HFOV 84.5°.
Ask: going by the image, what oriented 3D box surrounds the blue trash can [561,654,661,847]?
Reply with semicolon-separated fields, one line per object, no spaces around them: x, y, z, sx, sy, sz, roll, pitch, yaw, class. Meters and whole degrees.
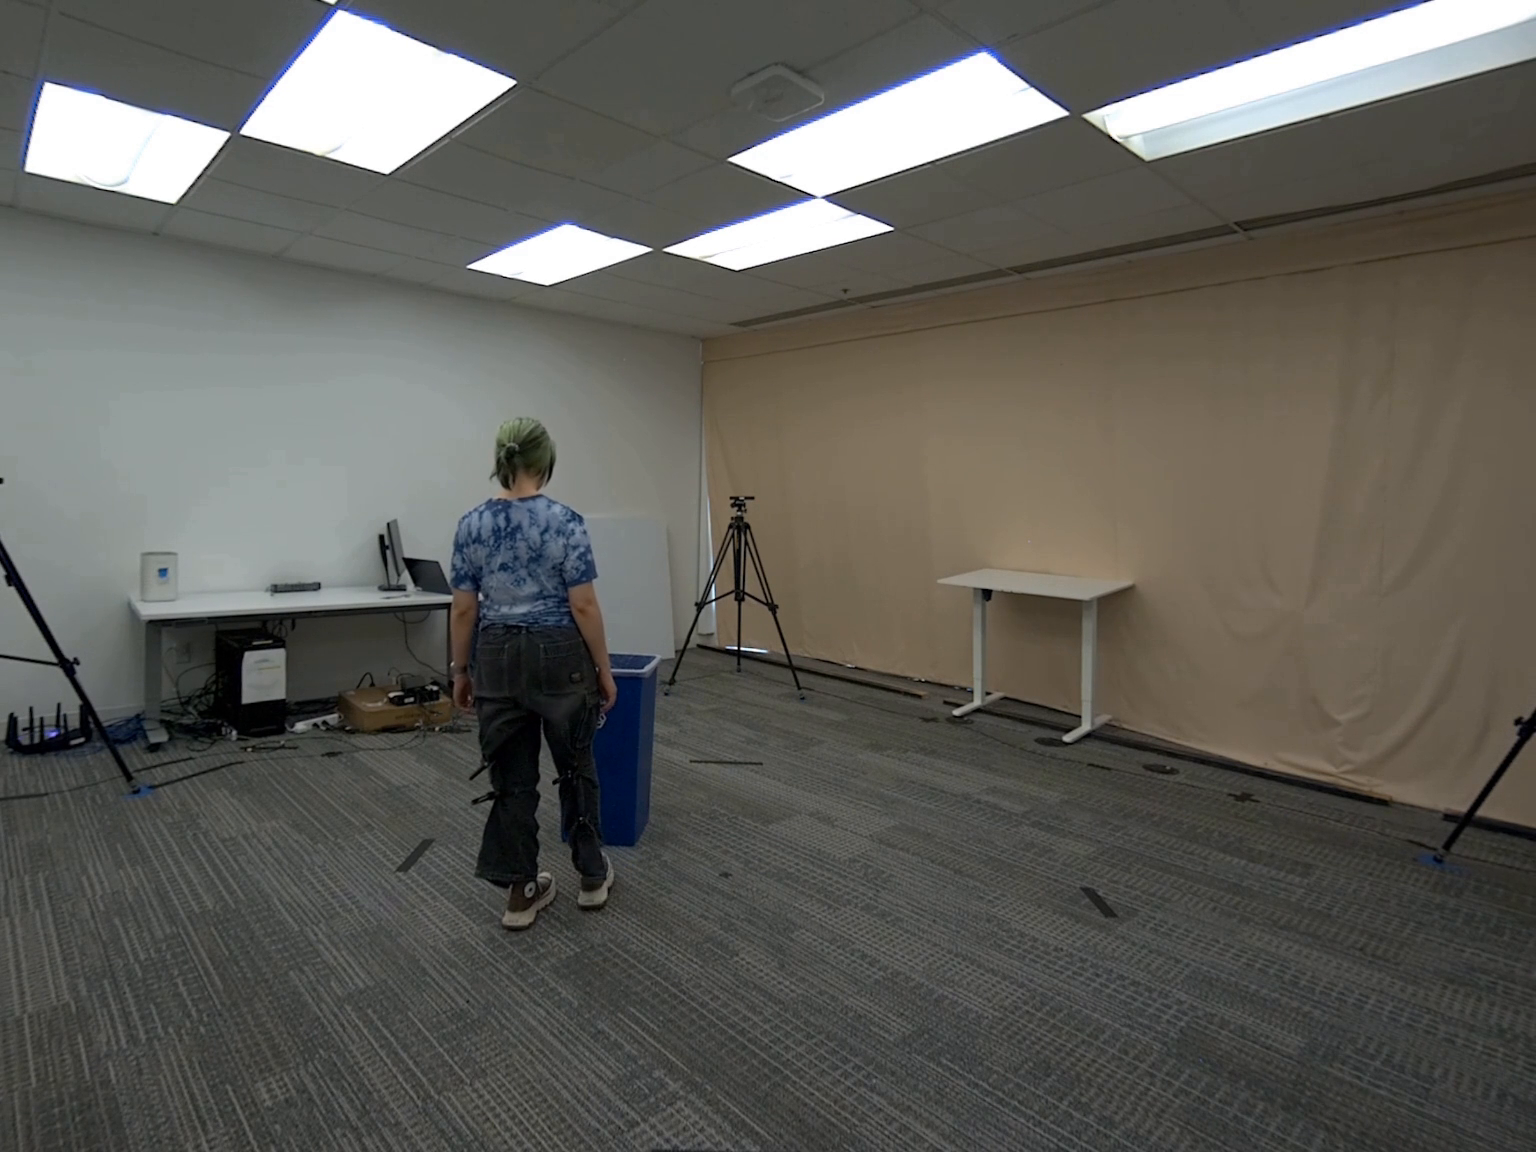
-0.665;0.706;3.485;0.376;0.712;0.377;2;3;4;blue trash can
